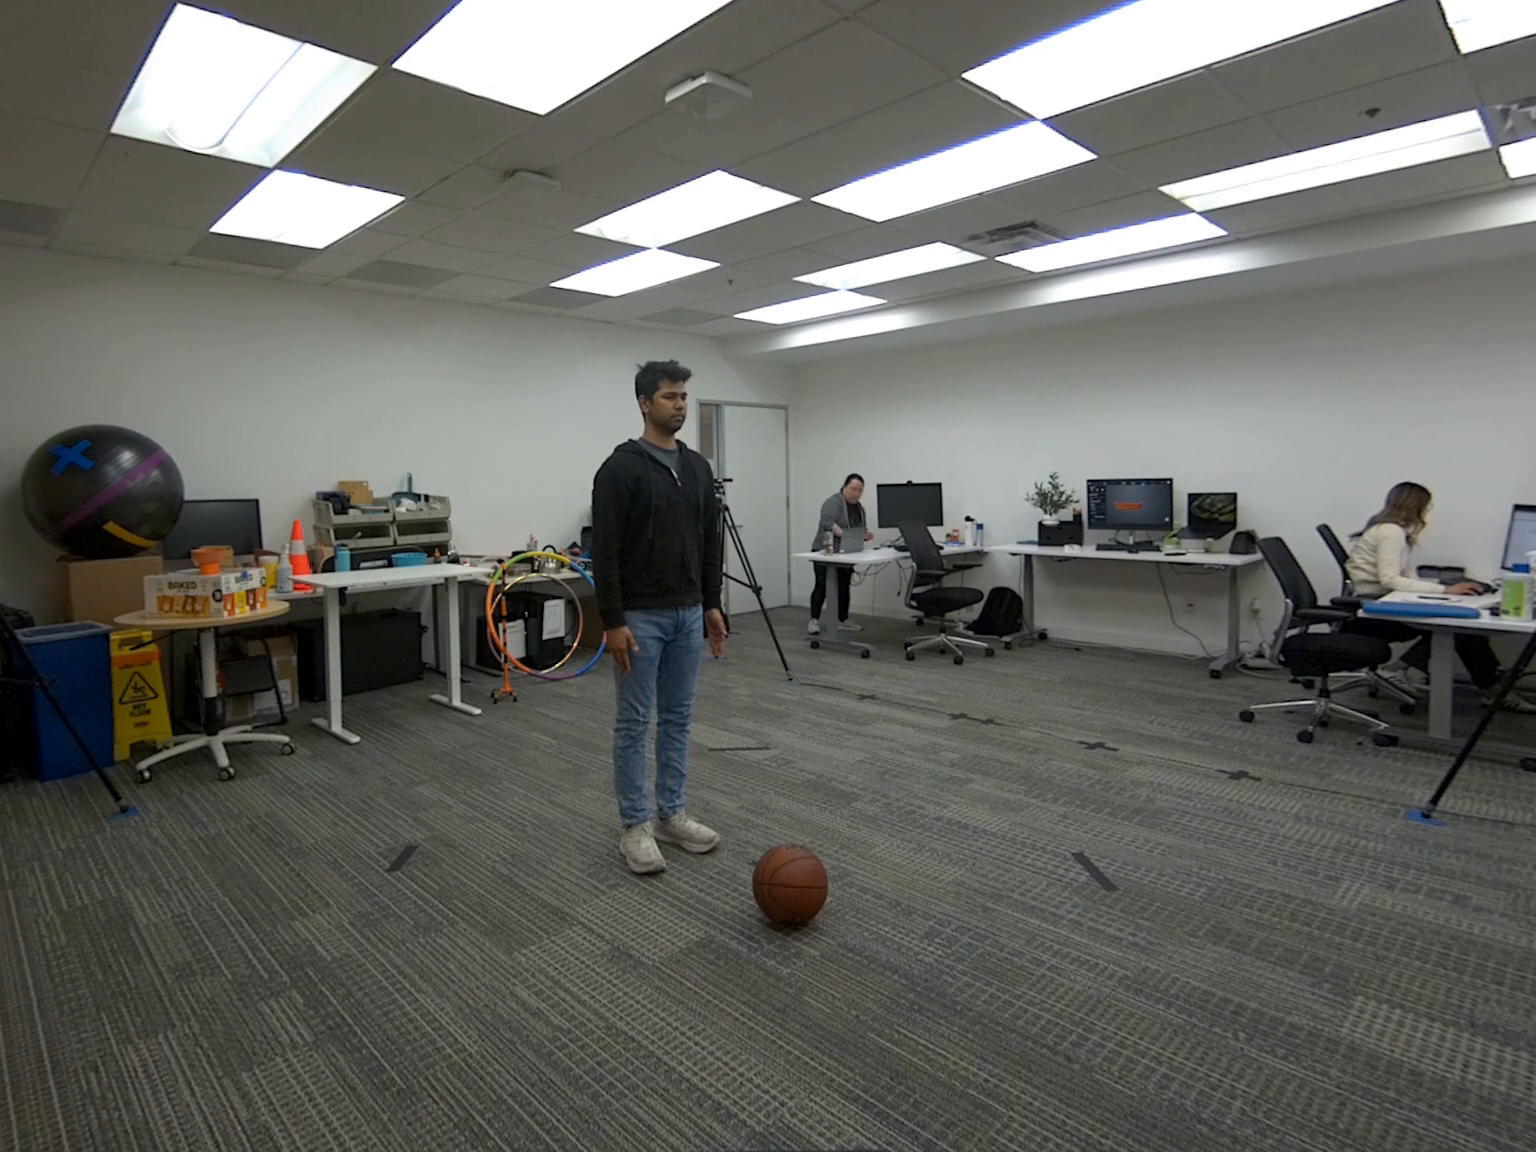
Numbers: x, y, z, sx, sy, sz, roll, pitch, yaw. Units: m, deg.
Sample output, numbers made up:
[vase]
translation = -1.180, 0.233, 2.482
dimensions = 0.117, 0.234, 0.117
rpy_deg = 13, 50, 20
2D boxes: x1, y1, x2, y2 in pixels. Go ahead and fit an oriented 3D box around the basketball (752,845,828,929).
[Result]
[basketball]
translation = 0.070, 0.968, 2.695
dimensions = 0.236, 0.235, 0.237
rpy_deg = -1, 5, -2
